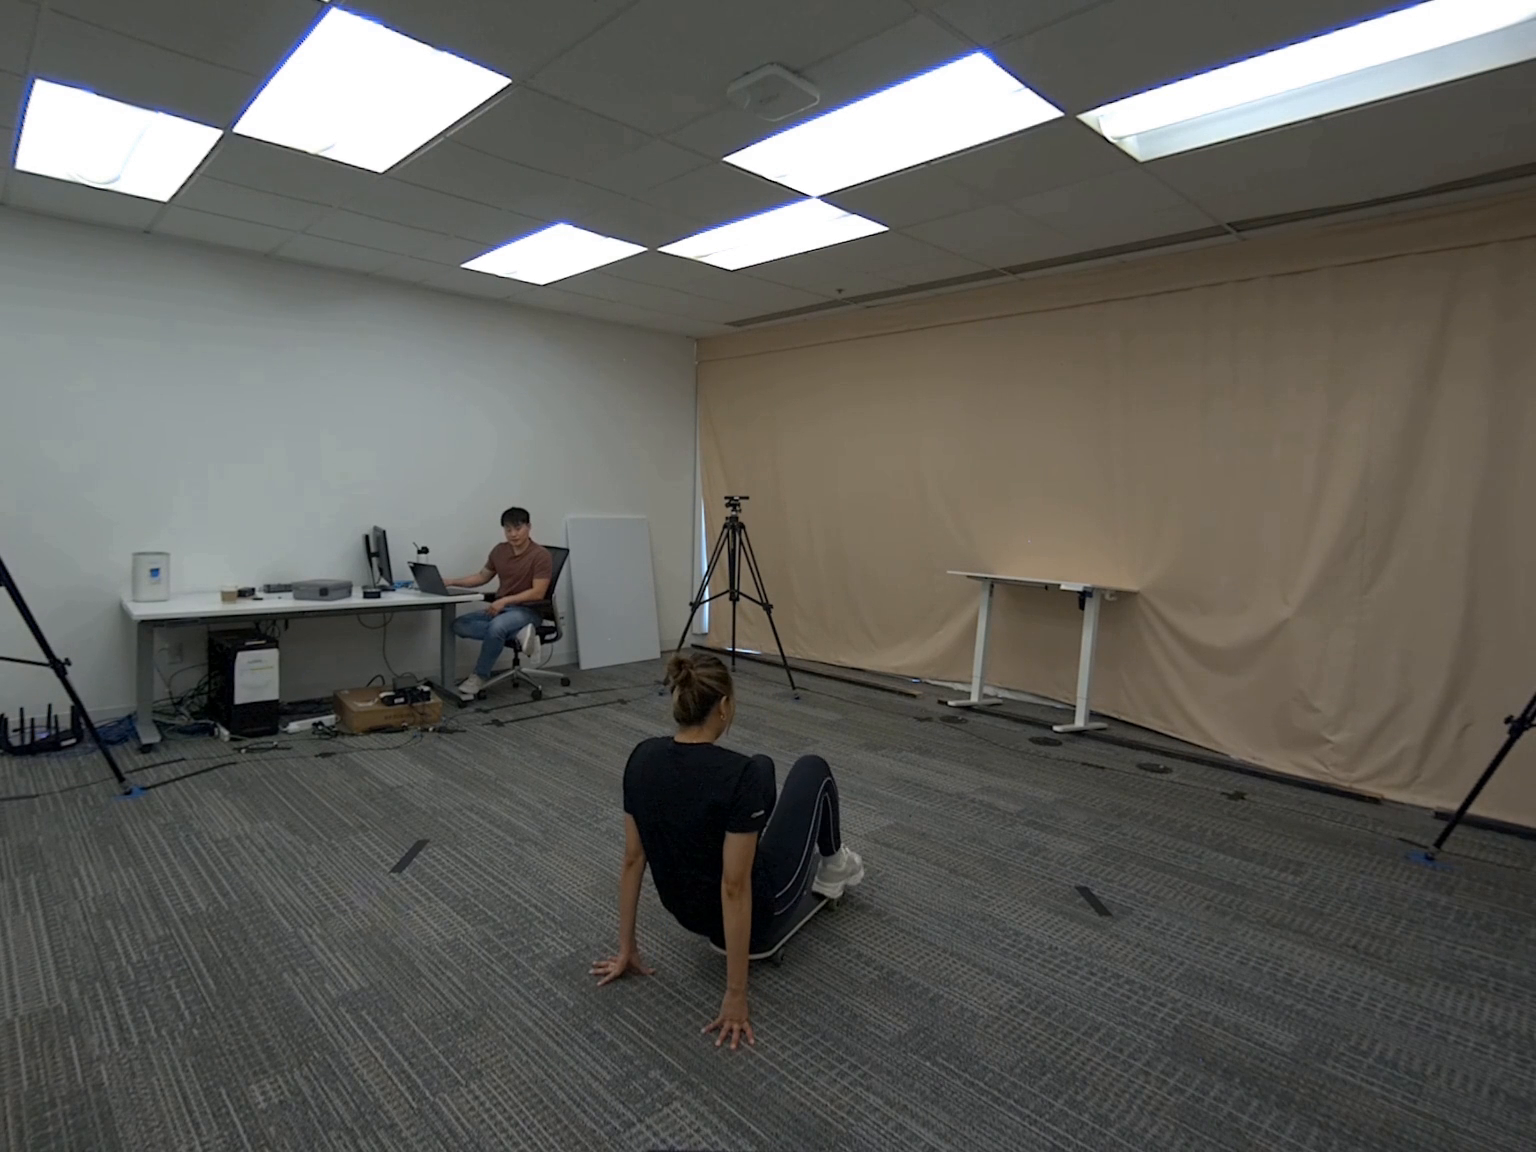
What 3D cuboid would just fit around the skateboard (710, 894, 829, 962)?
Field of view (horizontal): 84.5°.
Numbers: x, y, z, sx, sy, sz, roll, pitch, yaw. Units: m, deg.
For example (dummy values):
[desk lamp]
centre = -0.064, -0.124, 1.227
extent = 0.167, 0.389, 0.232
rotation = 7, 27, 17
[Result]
[skateboard]
centre = 0.064, 1.095, 2.721
extent = 0.198, 0.110, 0.772
rotation = 7, 8, 27
